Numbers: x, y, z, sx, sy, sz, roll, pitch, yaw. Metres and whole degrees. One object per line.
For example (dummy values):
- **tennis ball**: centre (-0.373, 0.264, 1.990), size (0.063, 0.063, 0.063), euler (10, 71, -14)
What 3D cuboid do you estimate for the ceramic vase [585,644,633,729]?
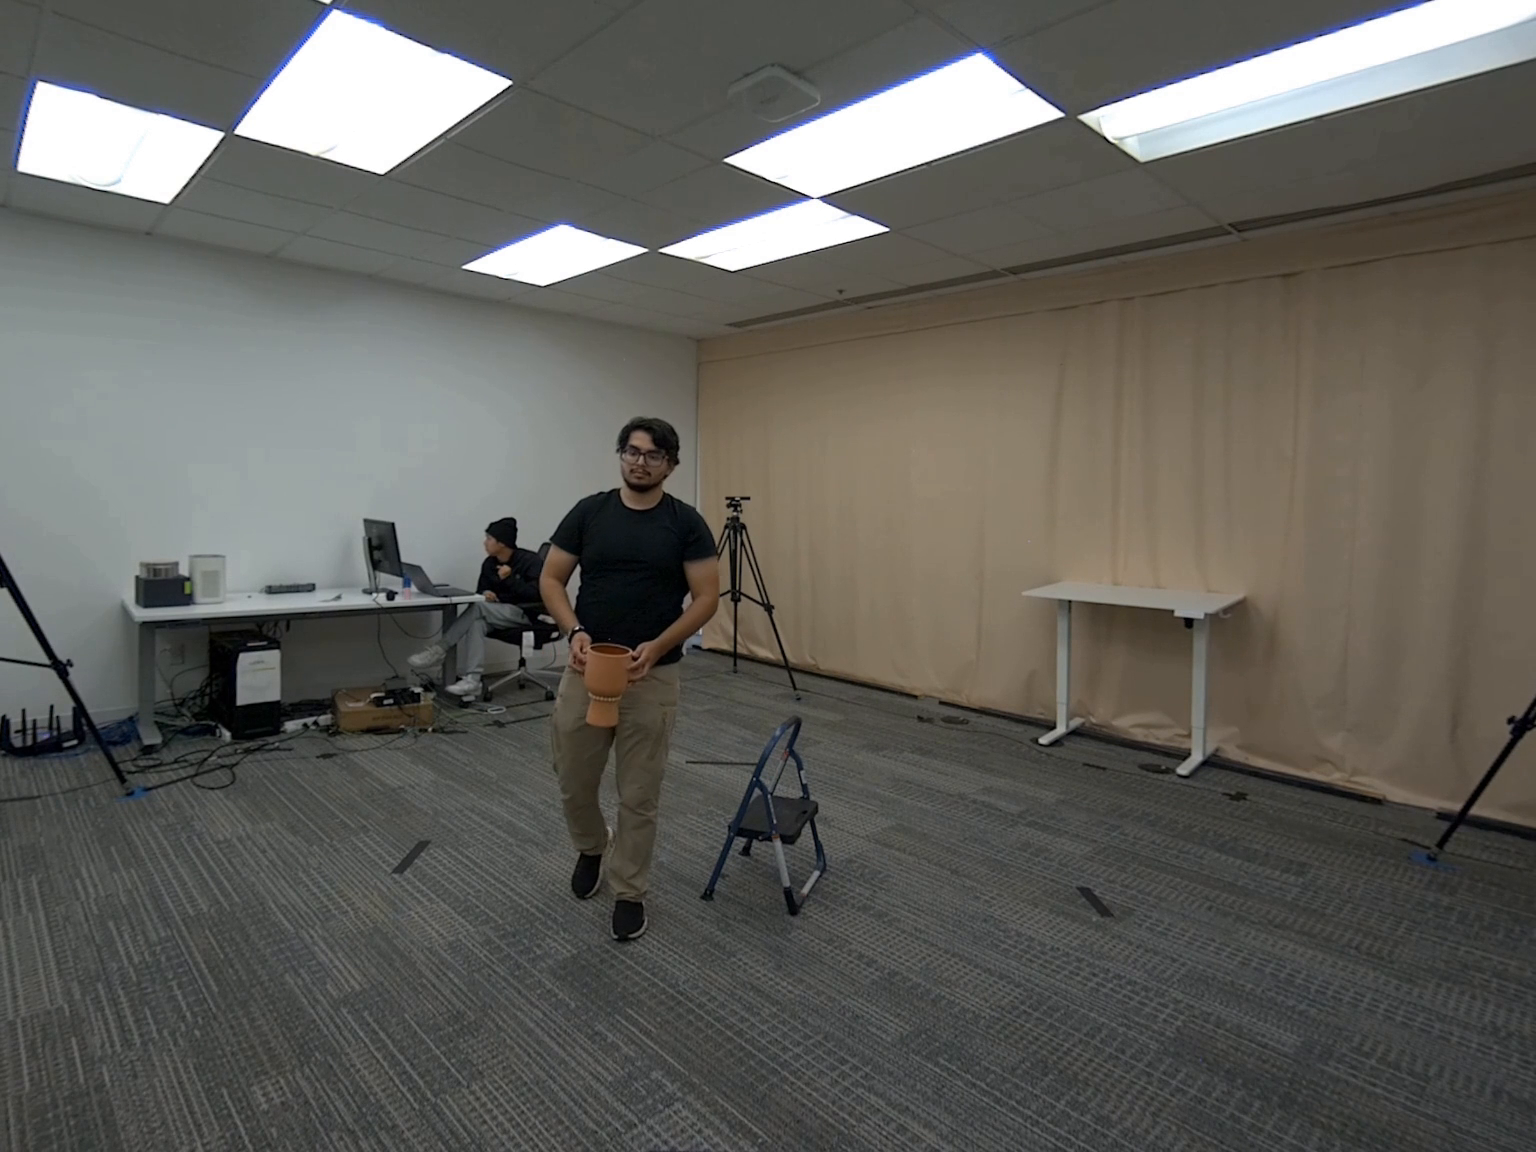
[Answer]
- **ceramic vase**: centre (-0.493, 0.327, 2.482), size (0.163, 0.219, 0.131), euler (12, 7, 37)
